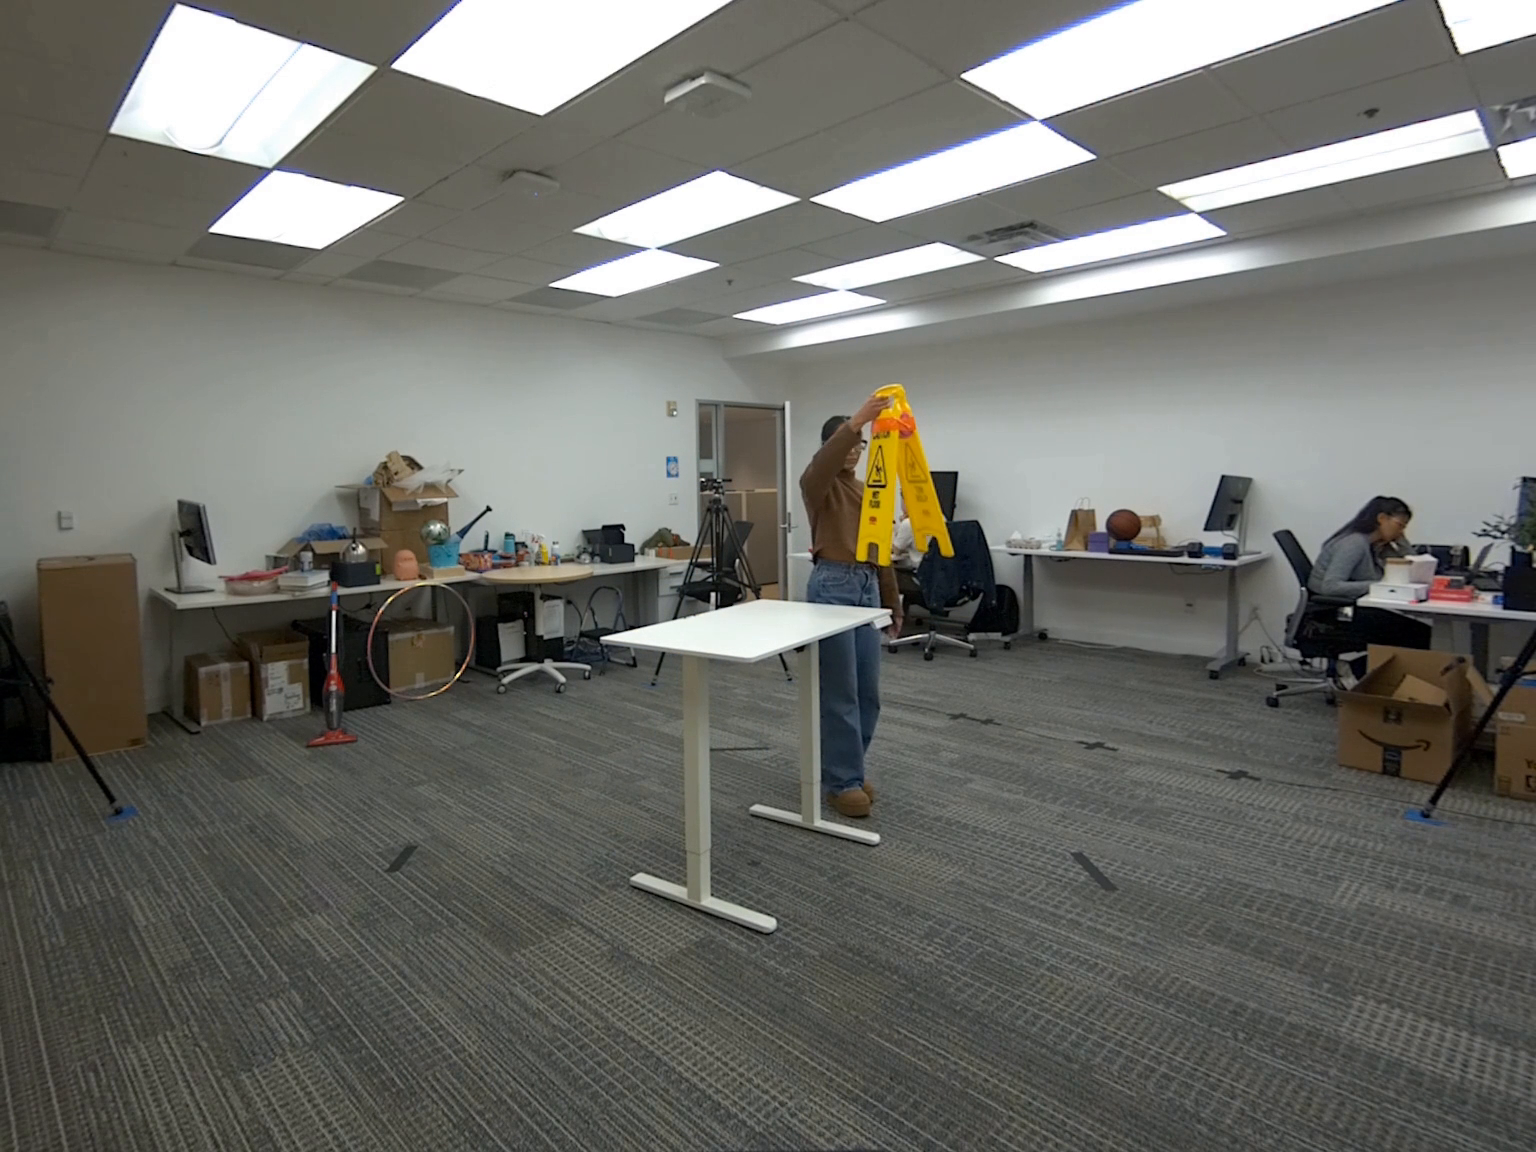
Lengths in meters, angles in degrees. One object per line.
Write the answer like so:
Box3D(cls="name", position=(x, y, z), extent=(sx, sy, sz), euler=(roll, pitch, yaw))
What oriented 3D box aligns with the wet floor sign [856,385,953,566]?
Box3D(cls="wet floor sign", position=(0.483, -0.381, 3.208), extent=(0.286, 0.643, 0.287), euler=(-7, 4, -14))
